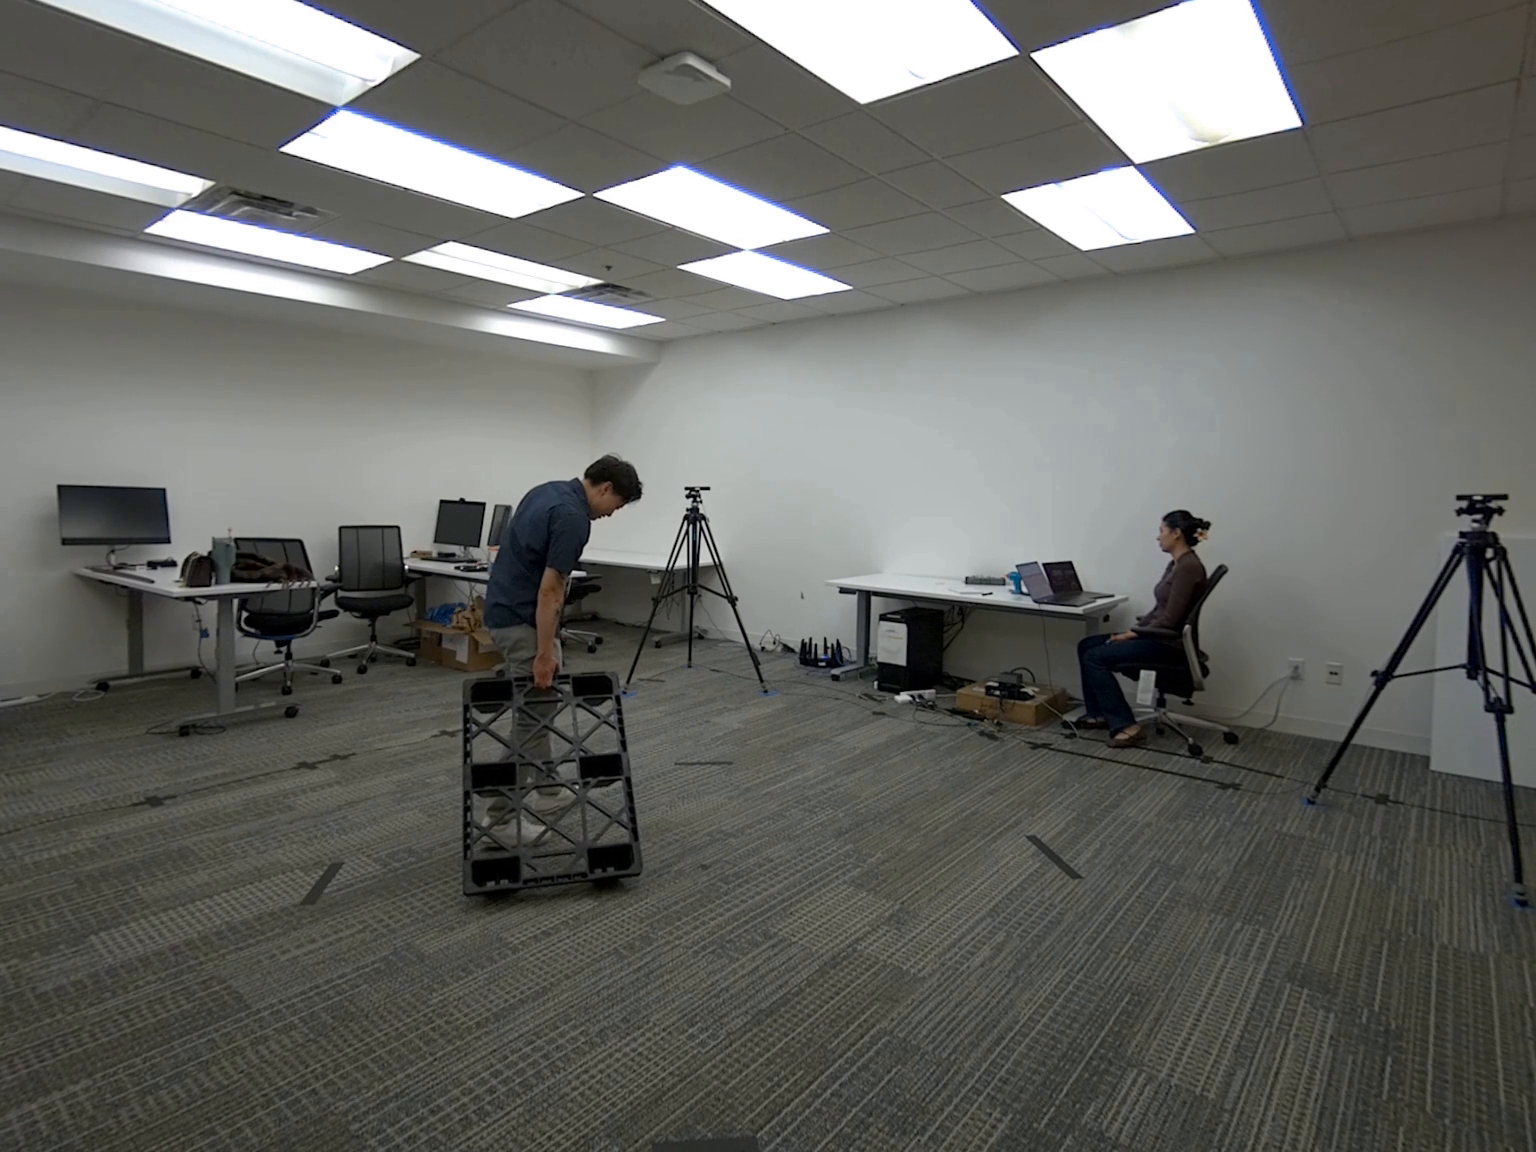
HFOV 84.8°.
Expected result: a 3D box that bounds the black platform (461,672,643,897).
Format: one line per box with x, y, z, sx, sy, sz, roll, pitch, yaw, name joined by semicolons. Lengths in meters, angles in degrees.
-0.827;0.742;3.127;0.595;0.833;0.141;-2;-38;-16;black platform
